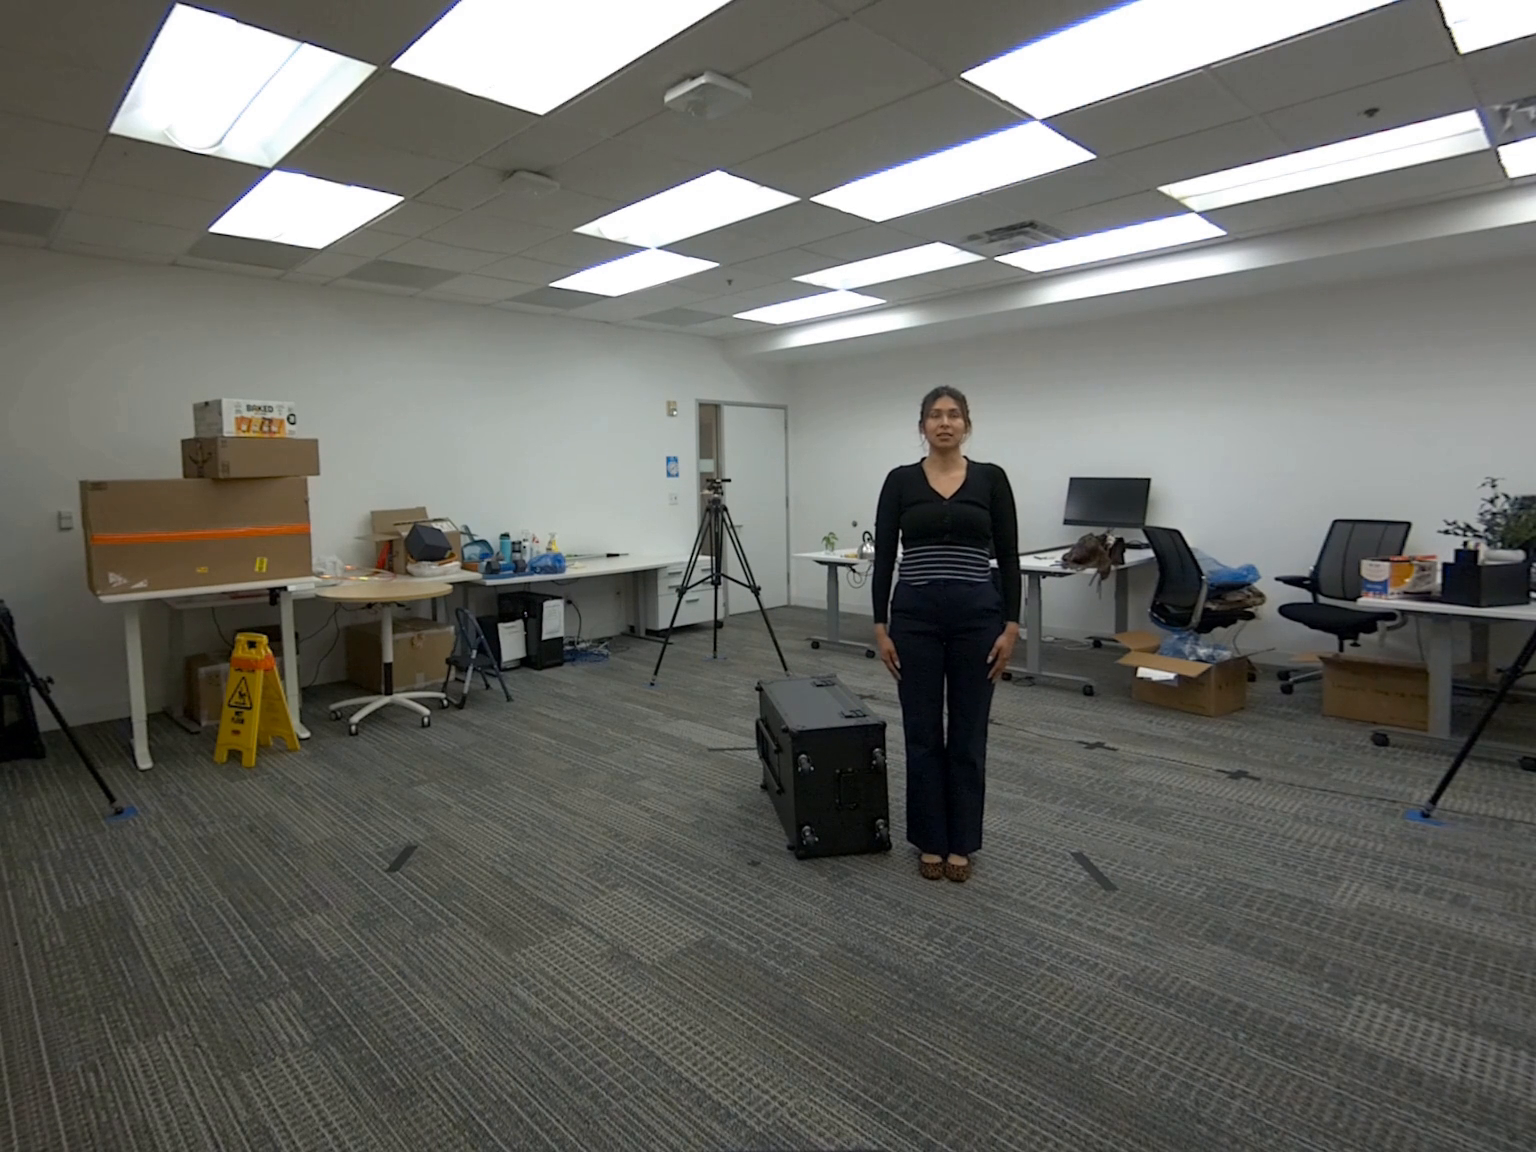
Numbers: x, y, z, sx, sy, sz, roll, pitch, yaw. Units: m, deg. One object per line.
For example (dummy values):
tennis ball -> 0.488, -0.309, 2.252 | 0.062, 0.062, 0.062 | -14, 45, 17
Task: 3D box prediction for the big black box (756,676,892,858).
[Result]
big black box -> 0.193, 0.741, 3.479 | 0.393, 0.519, 0.872 | -4, 6, -9
